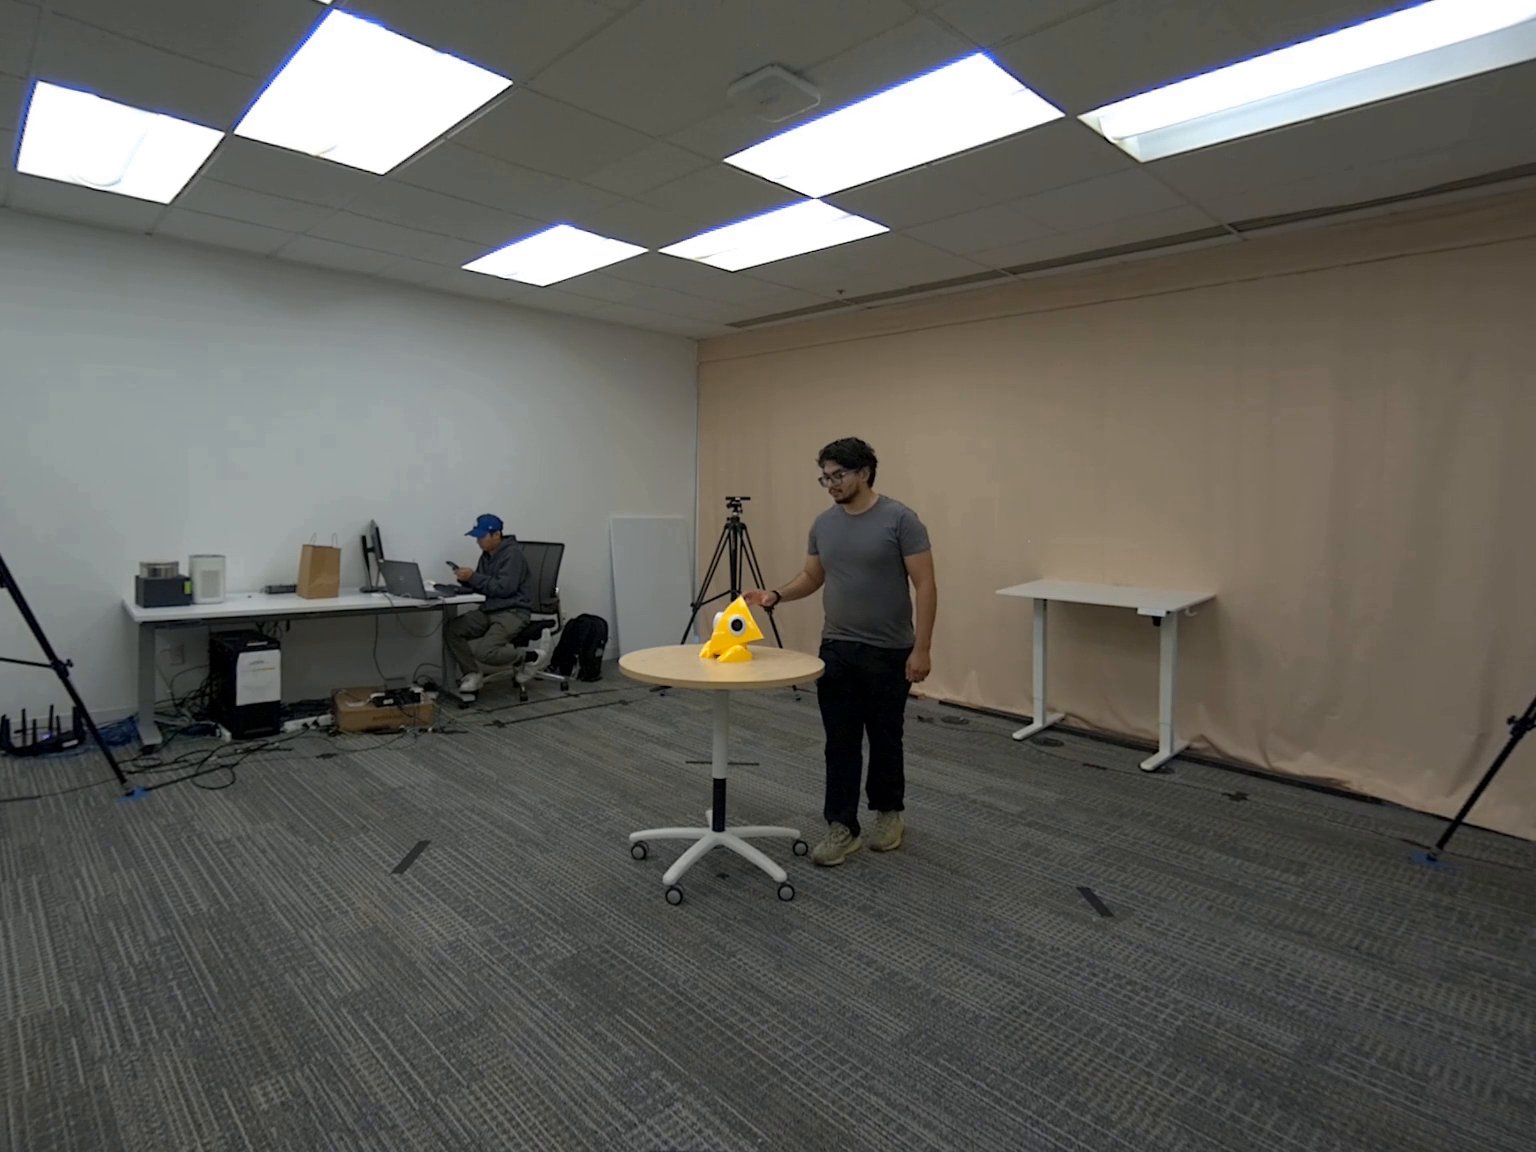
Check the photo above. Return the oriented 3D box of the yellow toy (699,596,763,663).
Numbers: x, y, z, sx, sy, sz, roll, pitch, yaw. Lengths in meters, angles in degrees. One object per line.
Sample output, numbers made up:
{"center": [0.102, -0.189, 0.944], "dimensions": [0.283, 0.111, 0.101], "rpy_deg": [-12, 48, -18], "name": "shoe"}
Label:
{"center": [-0.155, 0.196, 3.221], "dimensions": [0.189, 0.230, 0.210], "rpy_deg": [-2, 5, -40], "name": "yellow toy"}
